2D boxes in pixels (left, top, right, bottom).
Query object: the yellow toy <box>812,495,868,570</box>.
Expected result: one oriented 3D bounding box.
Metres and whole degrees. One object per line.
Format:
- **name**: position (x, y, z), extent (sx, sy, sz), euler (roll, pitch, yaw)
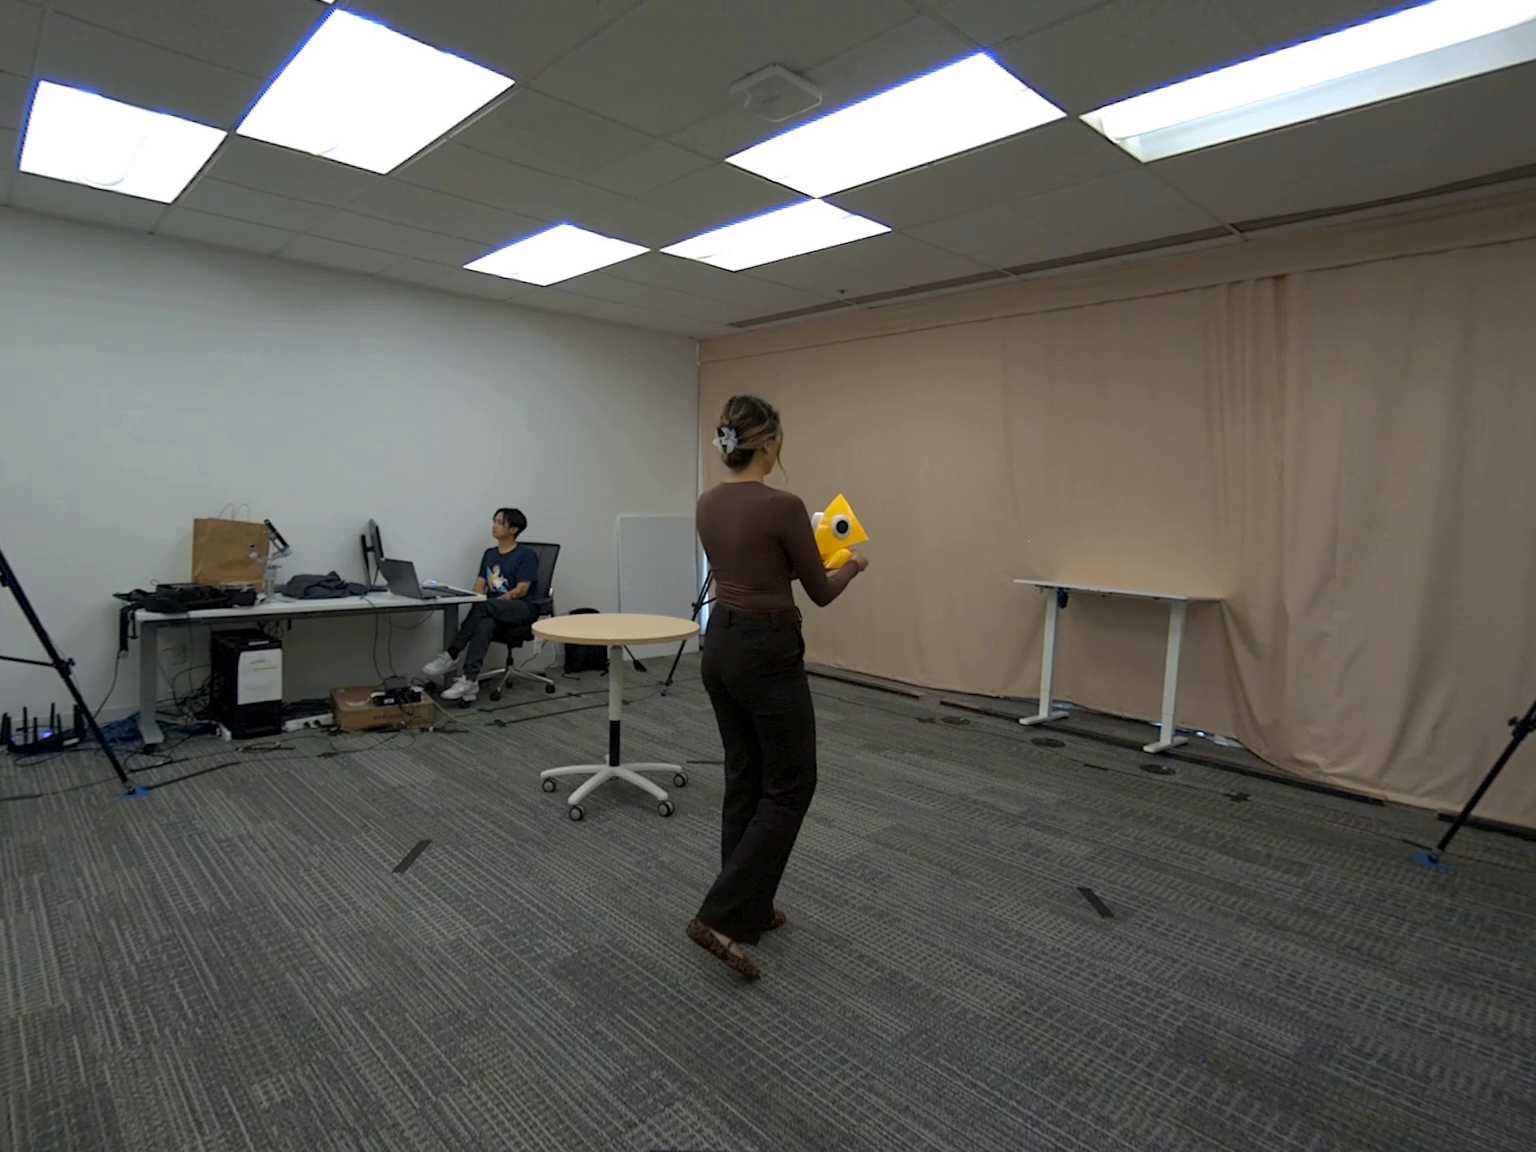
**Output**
- **yellow toy**: position (0.202, -0.158, 2.881), extent (0.210, 0.229, 0.189), euler (10, 16, 42)
